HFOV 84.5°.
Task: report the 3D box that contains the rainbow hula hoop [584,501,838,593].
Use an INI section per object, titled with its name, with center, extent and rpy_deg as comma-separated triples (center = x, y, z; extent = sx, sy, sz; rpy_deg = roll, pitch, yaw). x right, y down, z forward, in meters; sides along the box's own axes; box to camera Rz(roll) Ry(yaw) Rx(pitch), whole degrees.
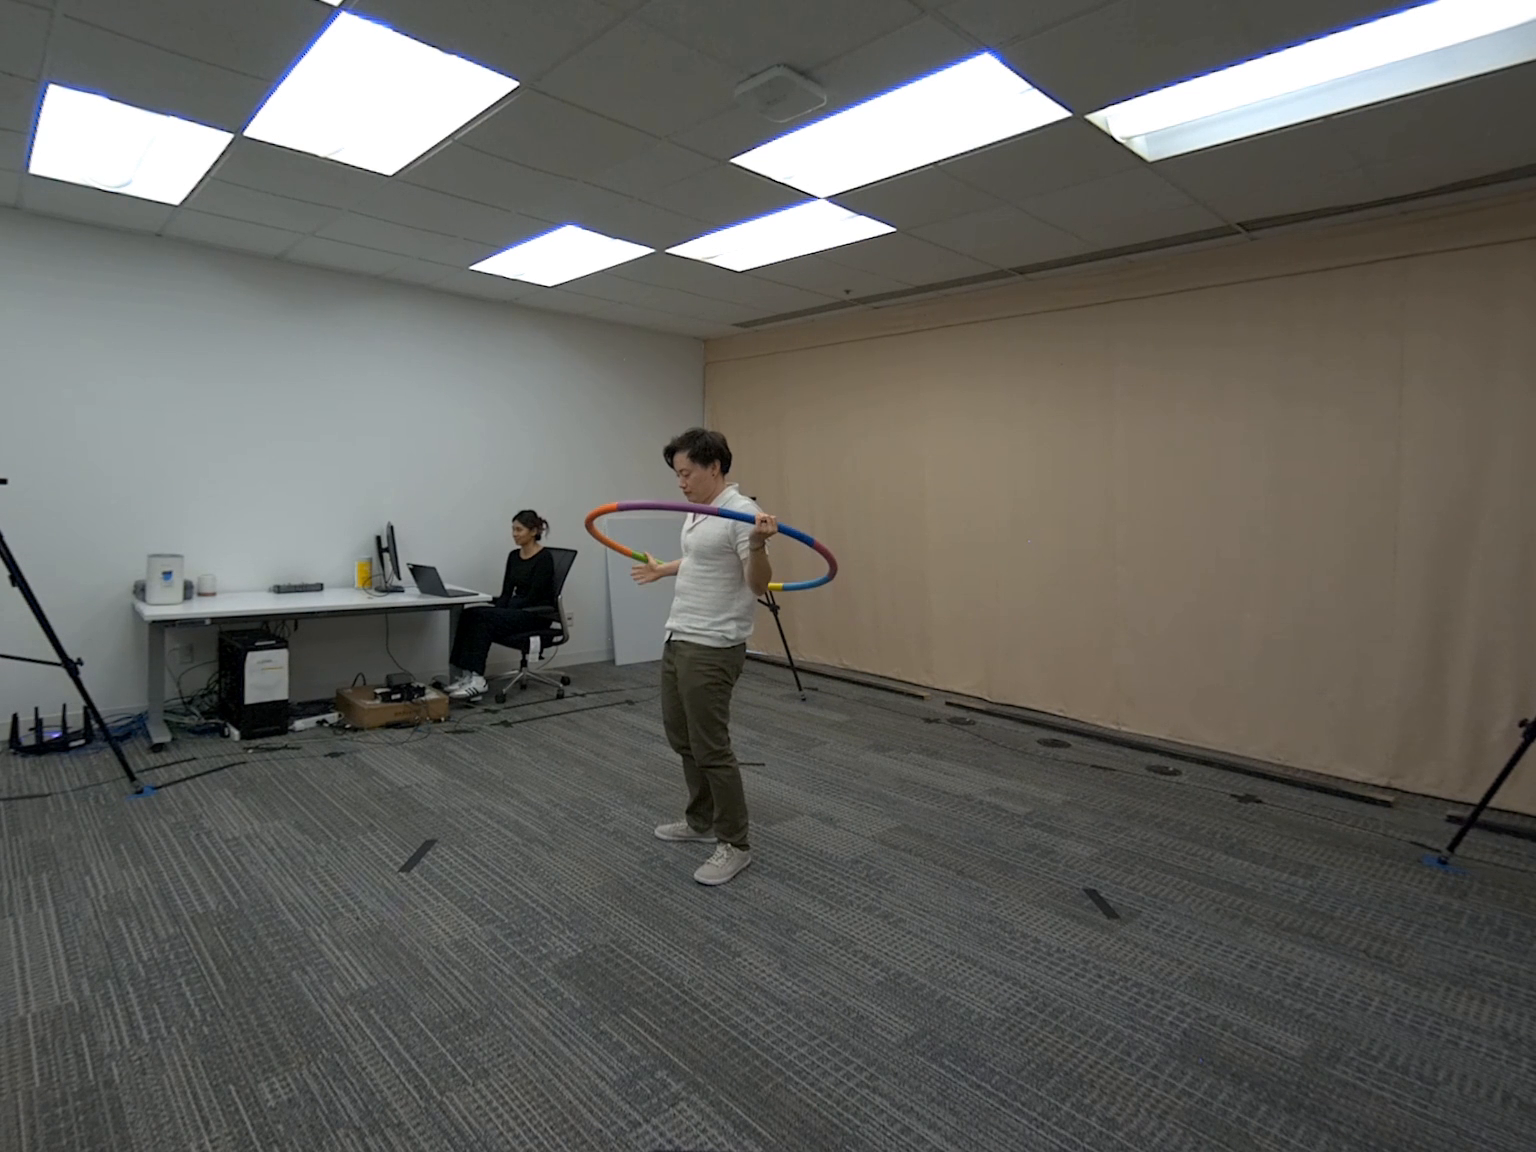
[rainbow hula hoop]
center = -0.218, -0.108, 3.253
extent = 0.981, 0.036, 0.968
rpy_deg = 11, -14, 2
